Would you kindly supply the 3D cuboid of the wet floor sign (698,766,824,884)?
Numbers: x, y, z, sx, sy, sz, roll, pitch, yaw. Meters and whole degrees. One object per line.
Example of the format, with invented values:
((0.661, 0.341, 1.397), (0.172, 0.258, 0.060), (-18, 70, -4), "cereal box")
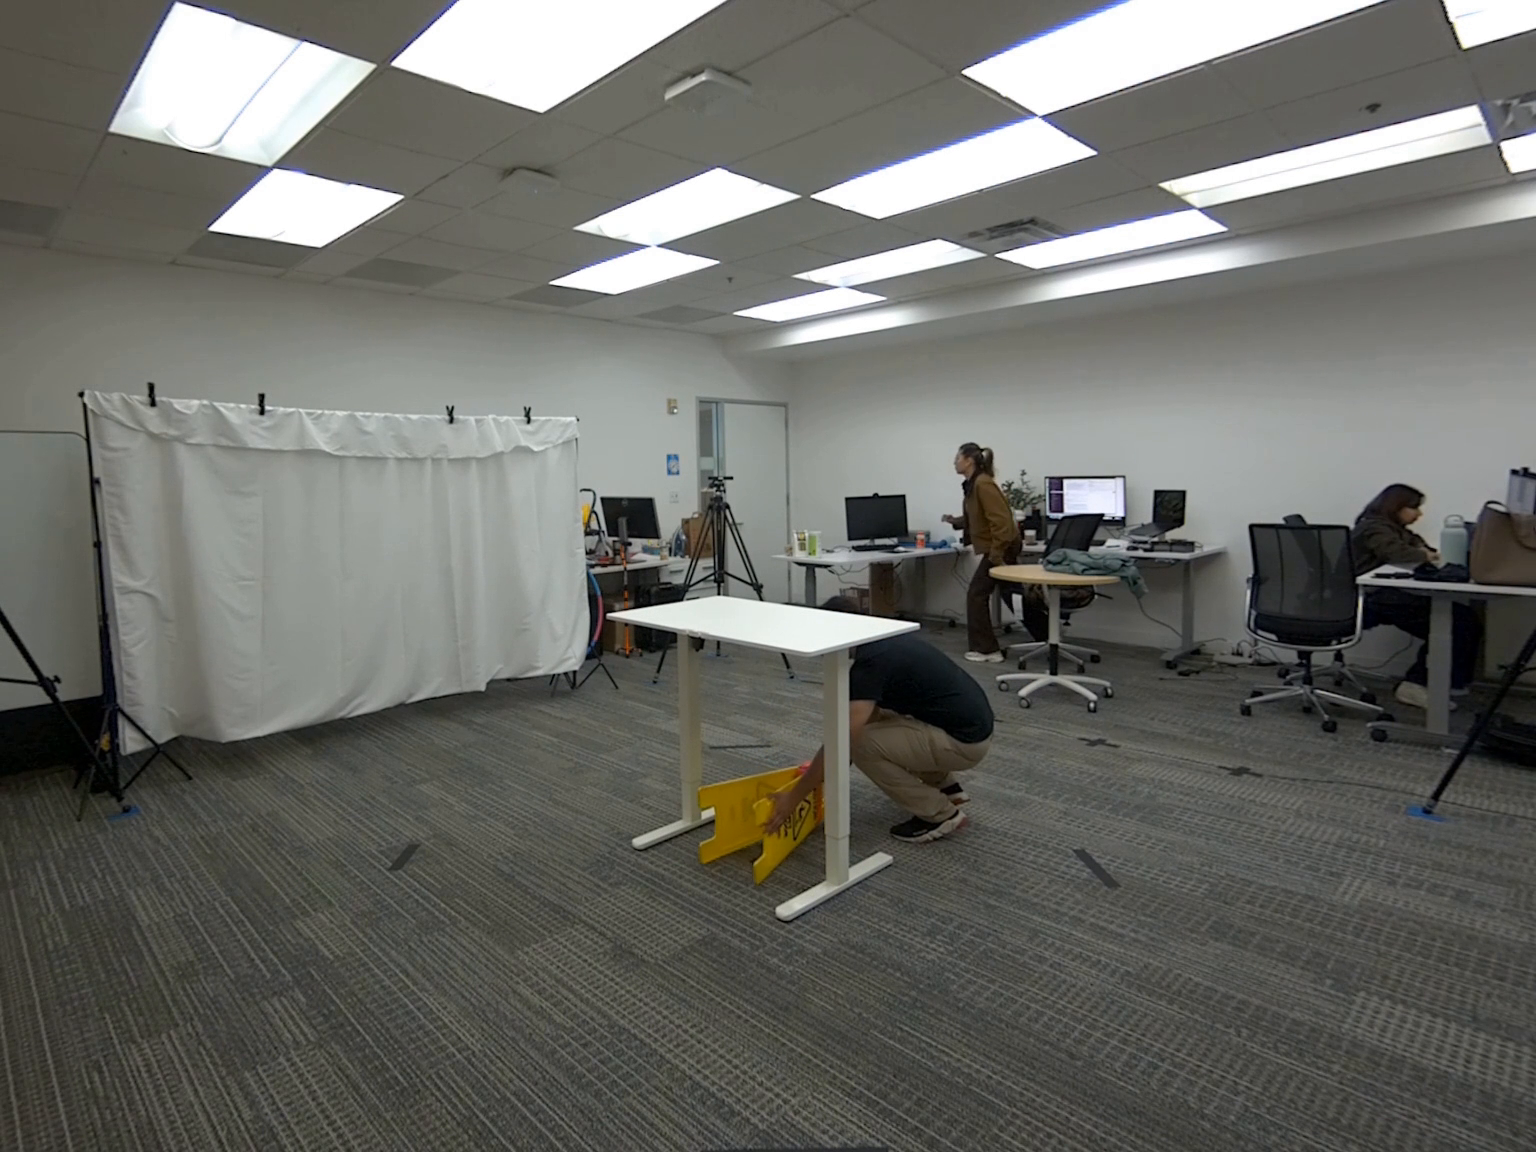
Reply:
((0.051, 0.882, 3.237), (0.298, 0.281, 0.629), (3, 7, 39), "wet floor sign")
